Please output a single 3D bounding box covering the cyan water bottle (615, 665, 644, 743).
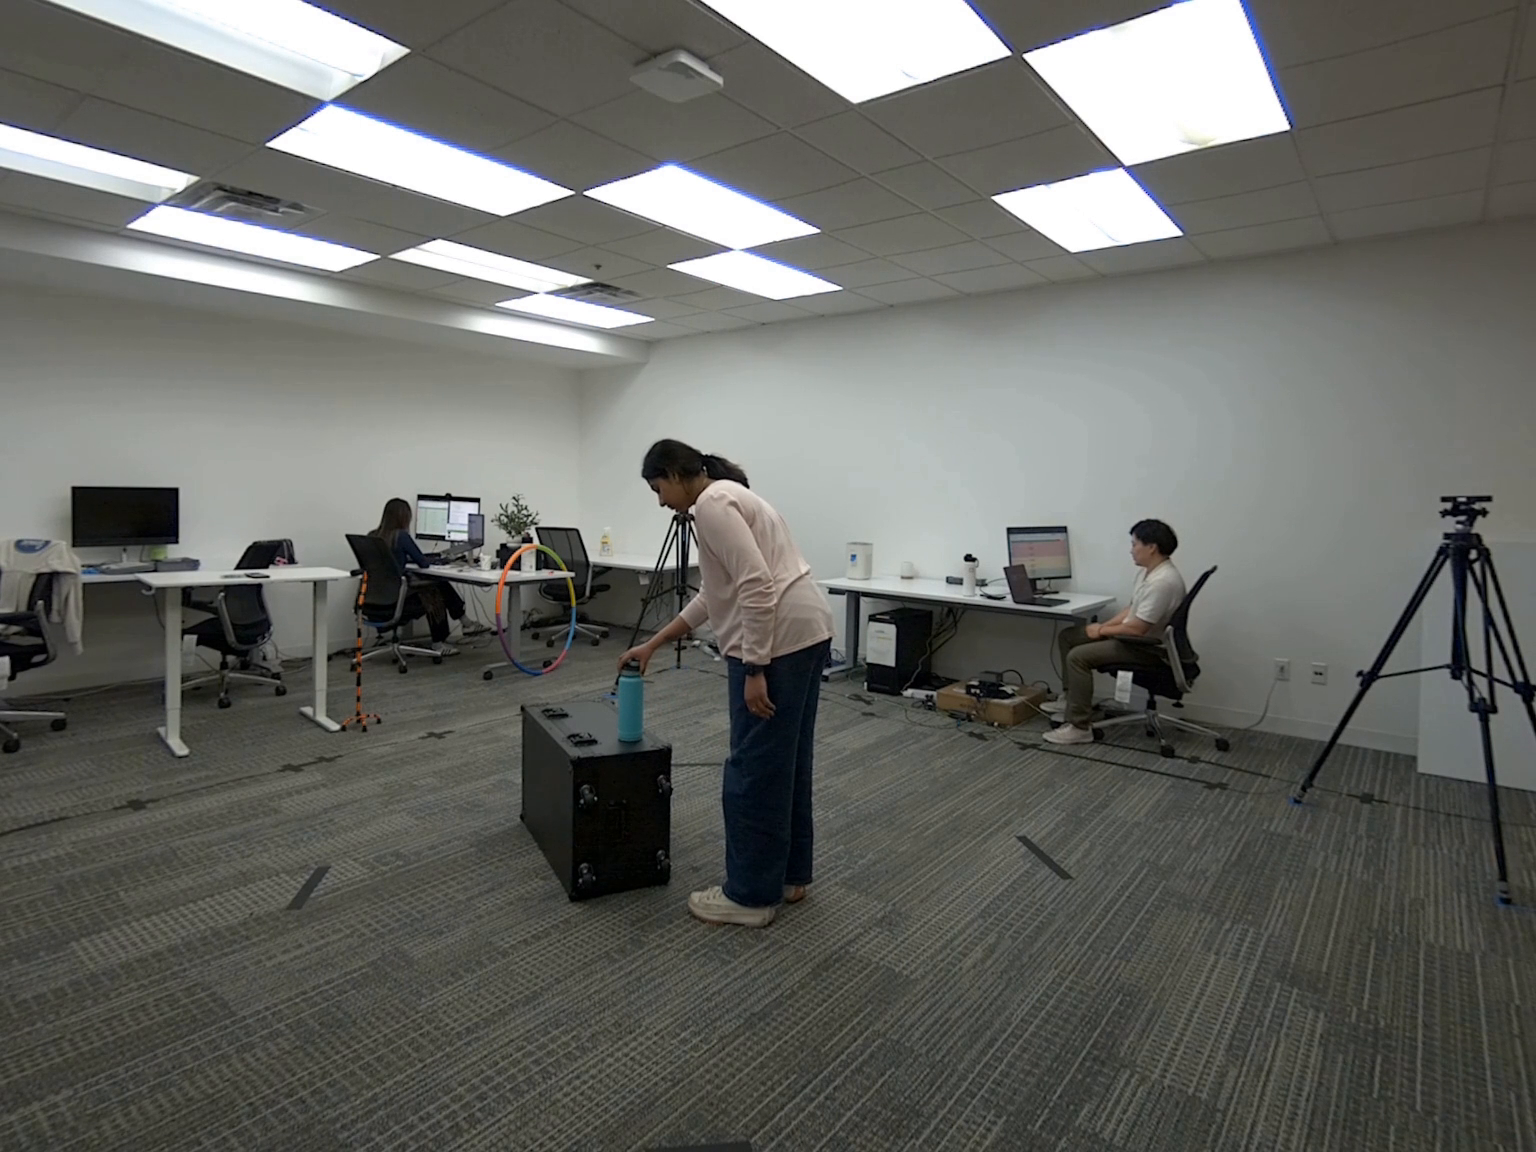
[{"bbox_3d":[-0.515,0.441,3.068,0.092,0.282,0.093,0,3,-2],"label":"cyan water bottle"}]
